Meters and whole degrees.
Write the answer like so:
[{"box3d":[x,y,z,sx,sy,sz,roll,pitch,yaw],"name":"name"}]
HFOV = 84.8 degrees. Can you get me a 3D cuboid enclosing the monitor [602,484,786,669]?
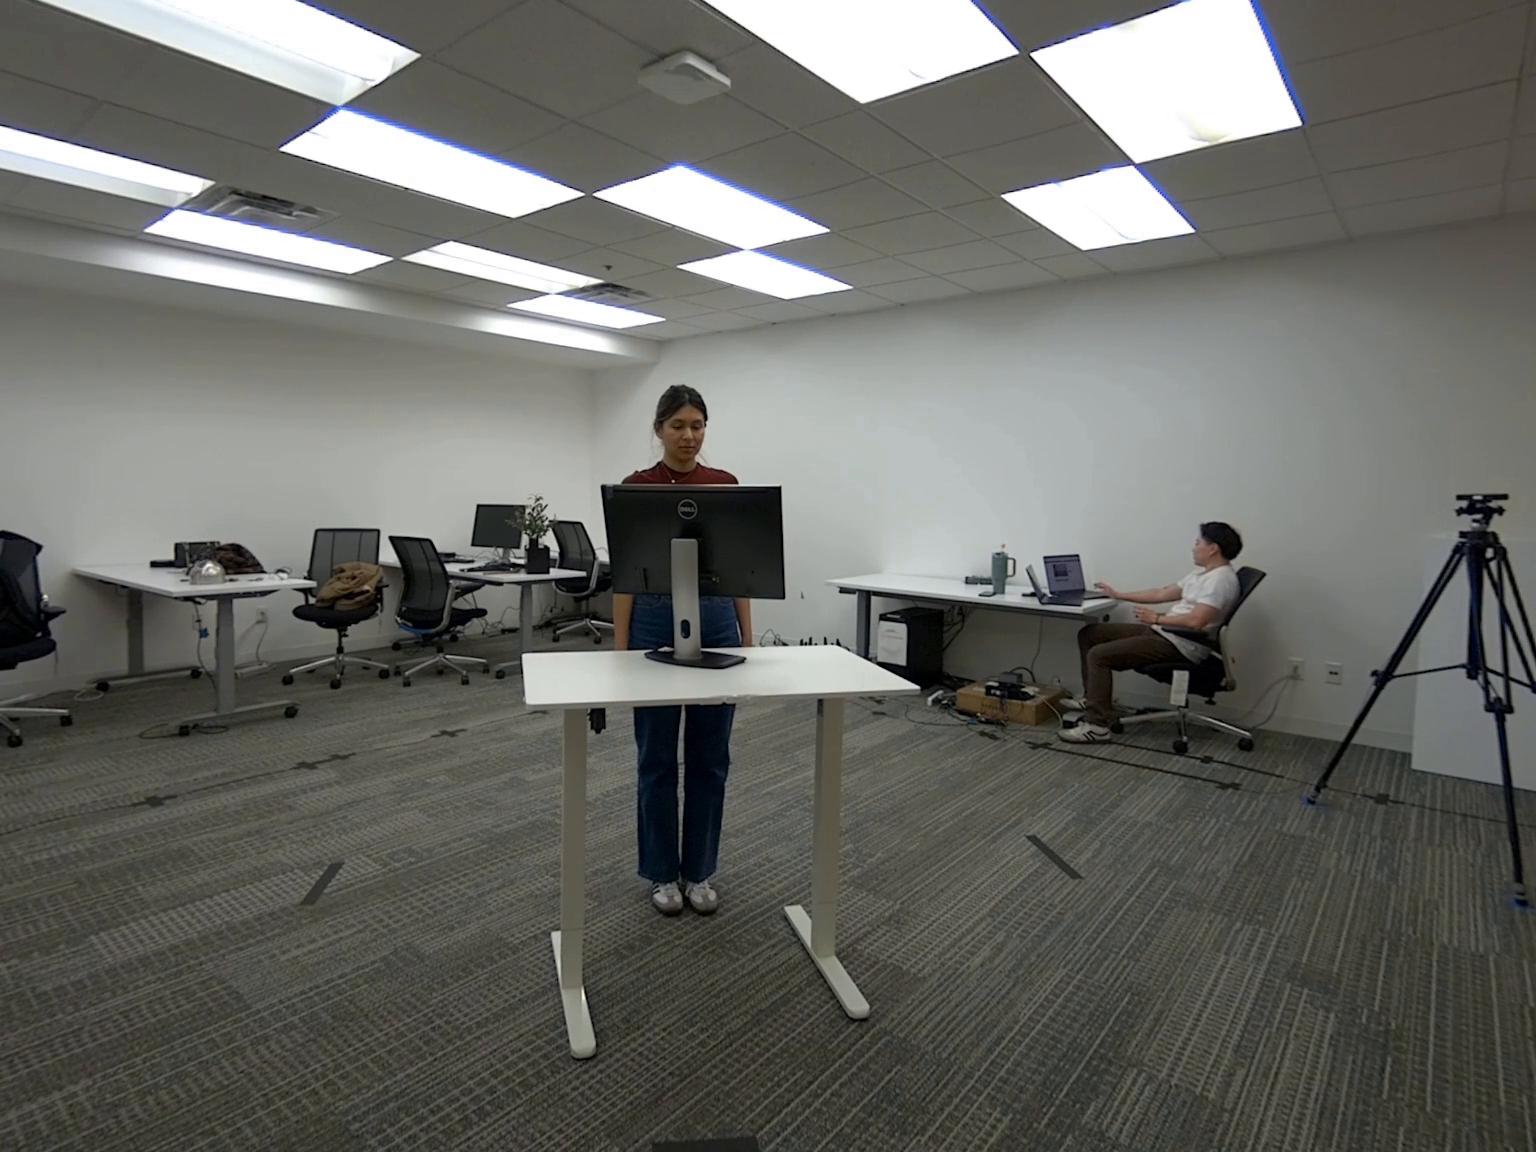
[{"box3d":[-0.239,-0.007,2.479,0.545,0.519,0.186,1,7,11],"name":"monitor"}]
